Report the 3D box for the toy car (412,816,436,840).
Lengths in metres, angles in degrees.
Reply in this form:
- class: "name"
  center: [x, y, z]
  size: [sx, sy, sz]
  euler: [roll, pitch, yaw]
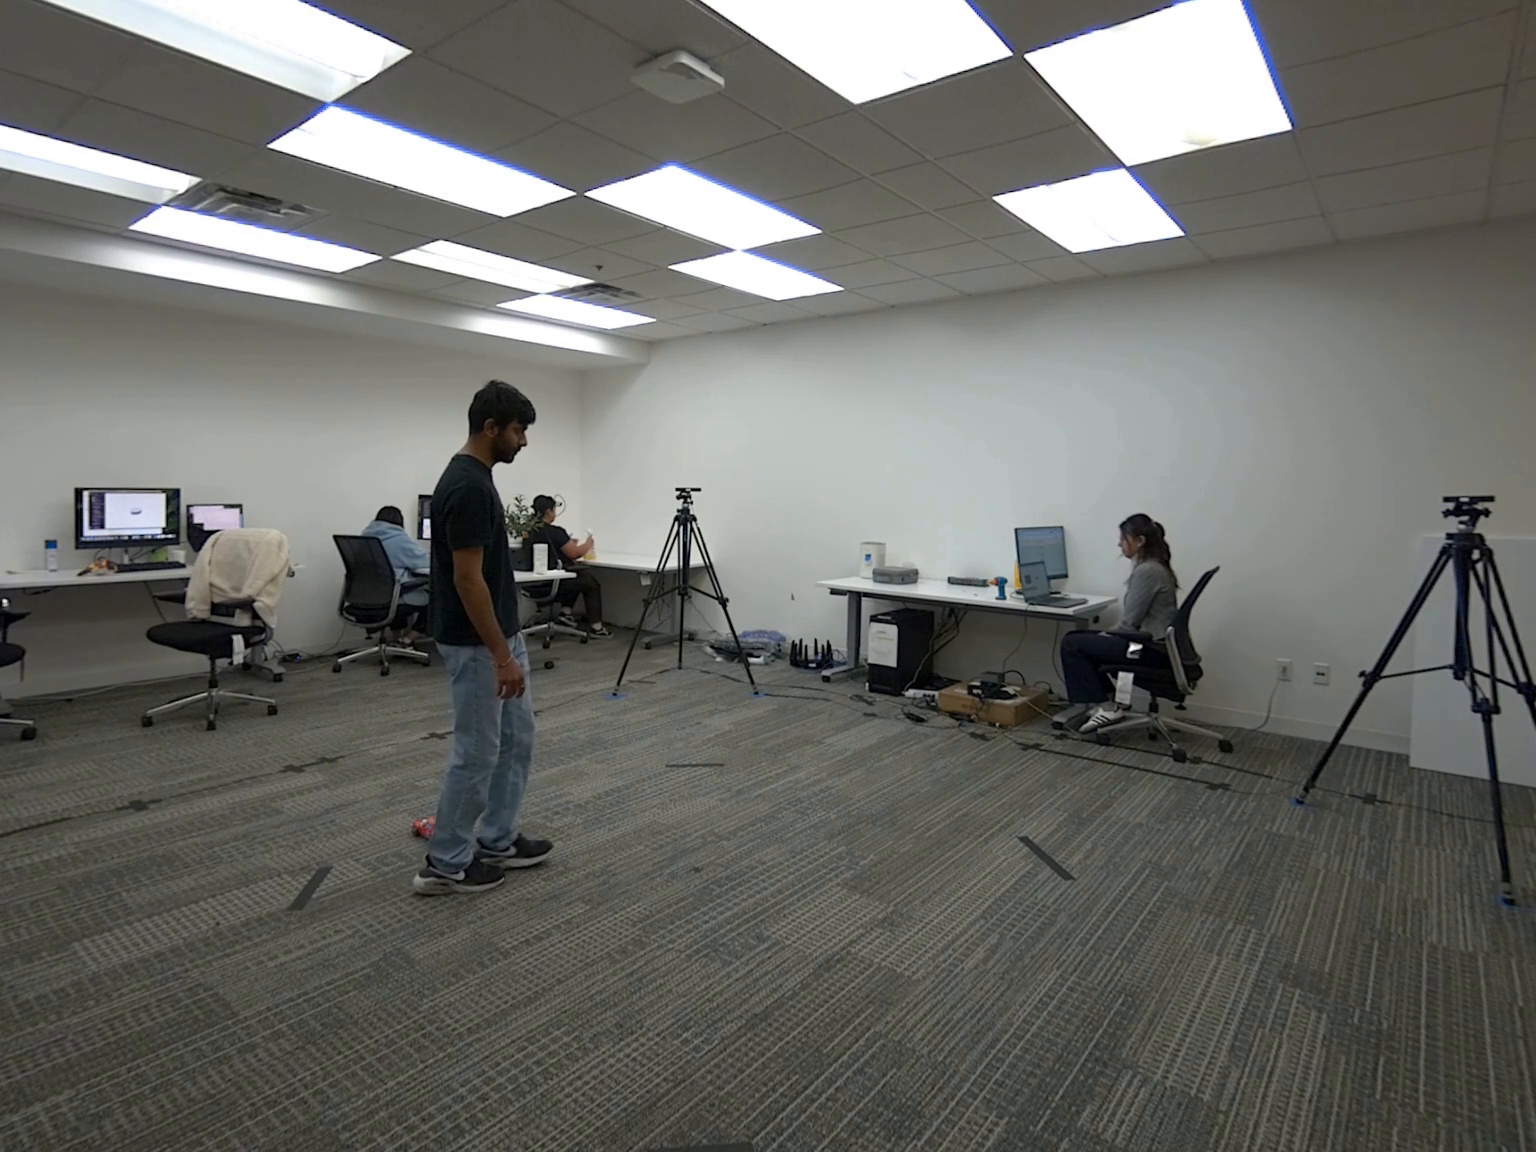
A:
- class: "toy car"
  center: [-1.303, 1.000, 3.336]
  size: [0.261, 0.083, 0.126]
  euler: [-8, -4, 42]
